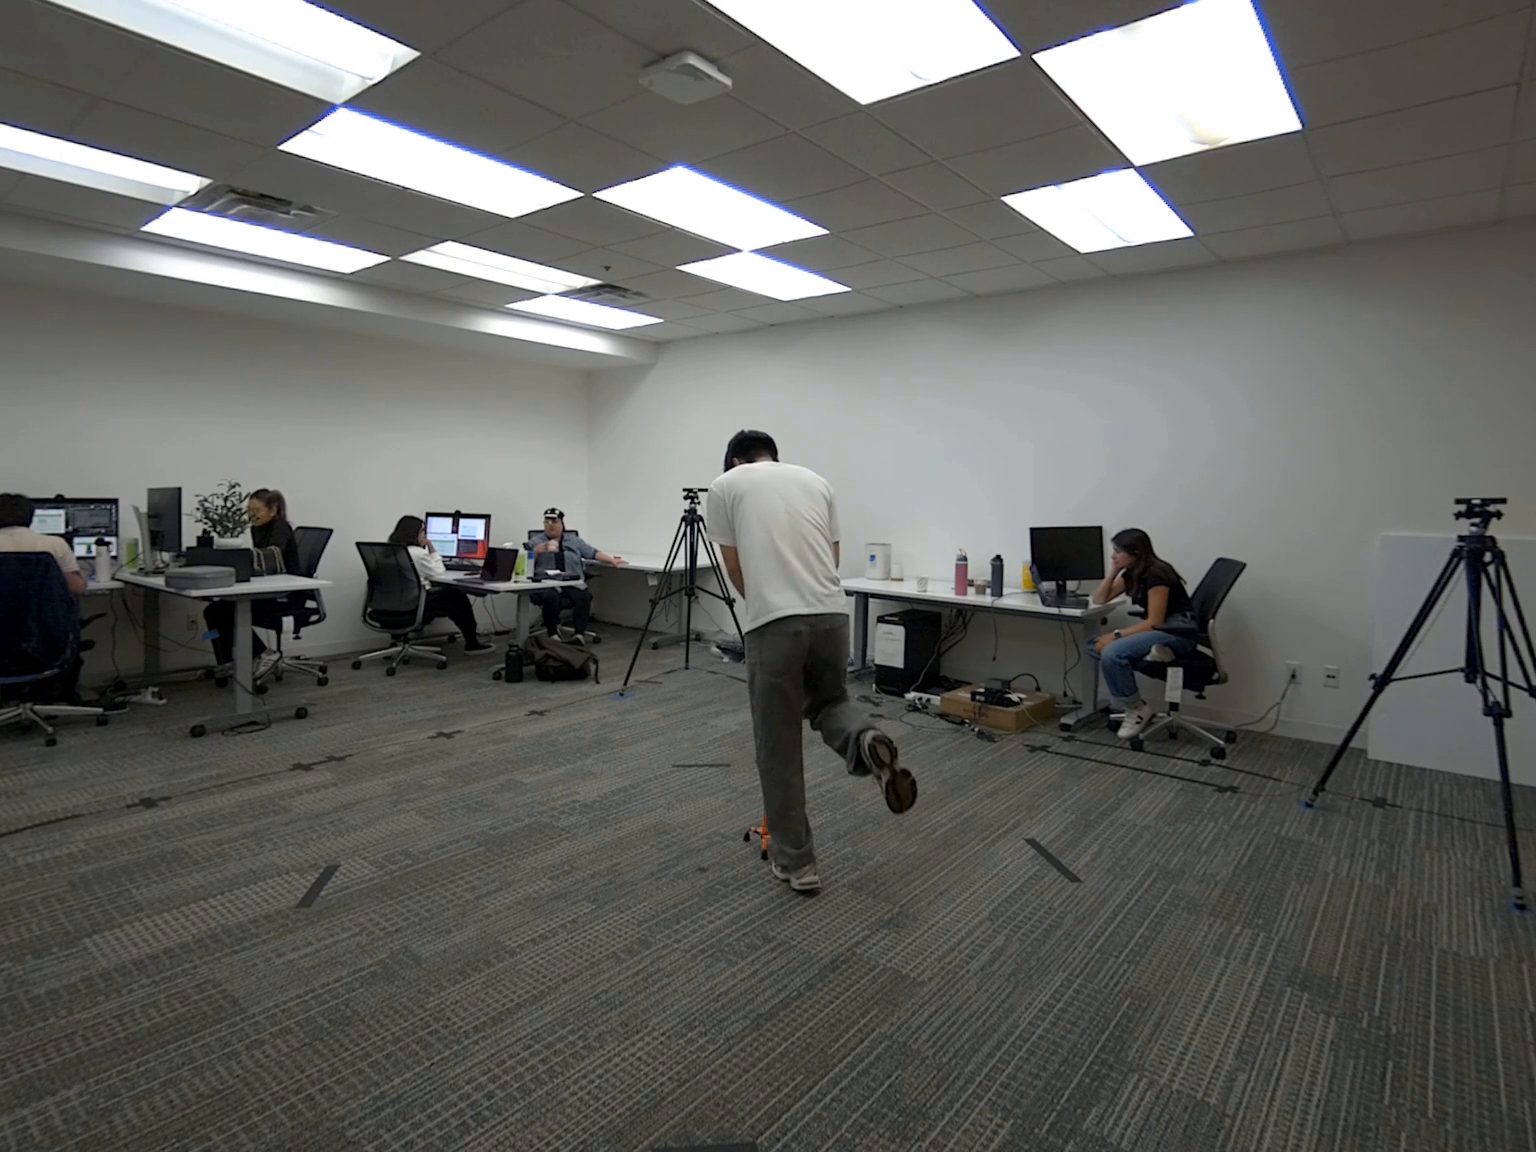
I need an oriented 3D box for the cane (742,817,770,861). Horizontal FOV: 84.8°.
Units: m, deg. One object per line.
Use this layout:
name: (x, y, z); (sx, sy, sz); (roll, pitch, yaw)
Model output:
cane: (0.025, 0.600, 3.291); (0.148, 0.905, 0.211); (1, 3, -23)
